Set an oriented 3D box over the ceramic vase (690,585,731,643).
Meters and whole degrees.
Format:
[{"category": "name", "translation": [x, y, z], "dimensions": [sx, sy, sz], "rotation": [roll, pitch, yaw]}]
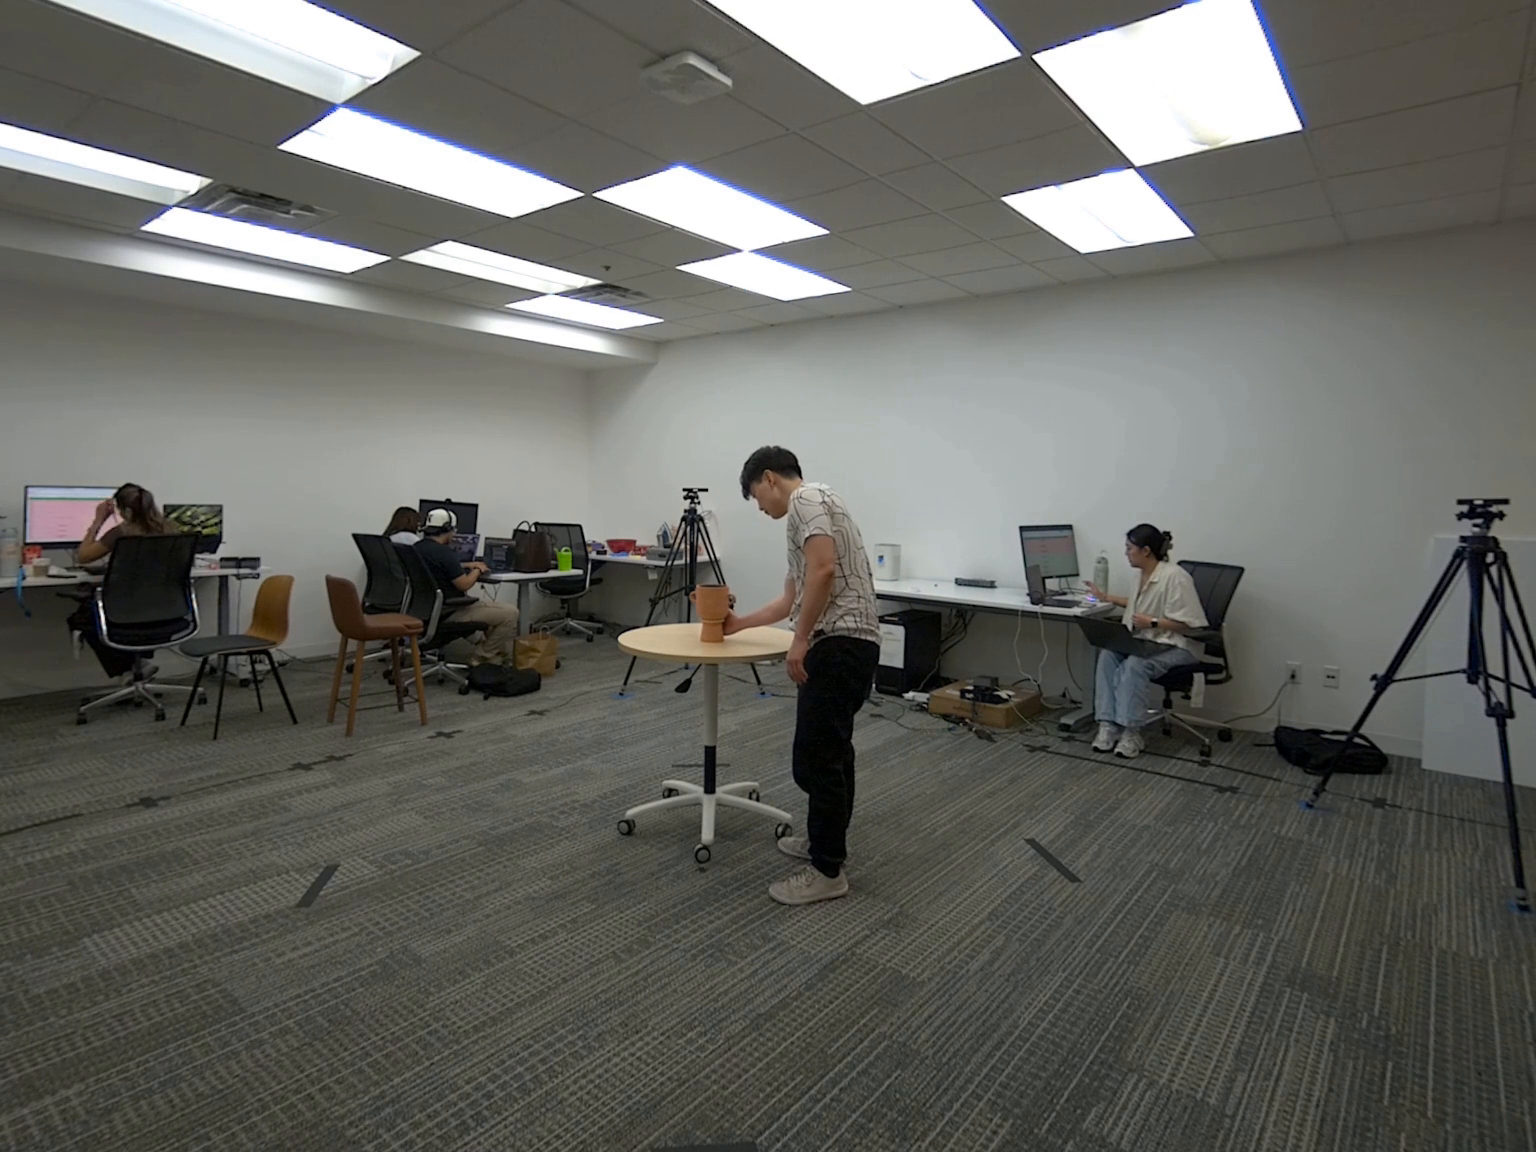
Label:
[{"category": "ceramic vase", "translation": [-0.236, 0.147, 3.431], "dimensions": [0.131, 0.219, 0.163], "rotation": [0, 3, -31]}]
